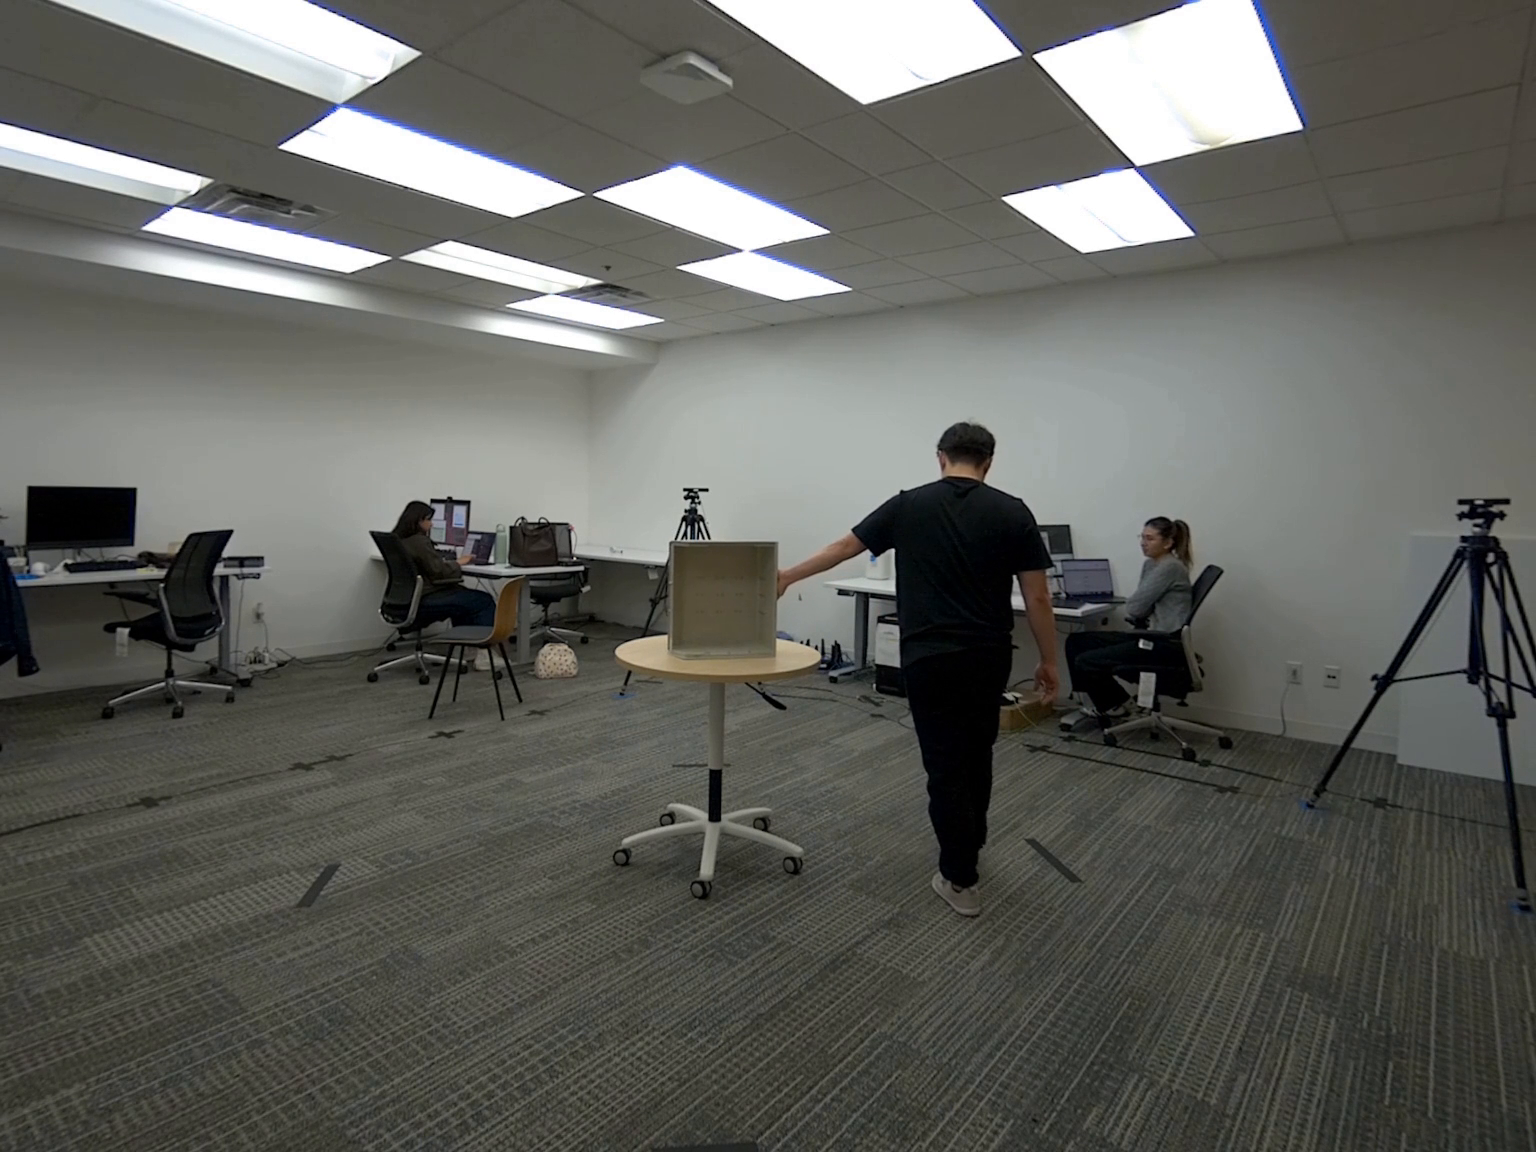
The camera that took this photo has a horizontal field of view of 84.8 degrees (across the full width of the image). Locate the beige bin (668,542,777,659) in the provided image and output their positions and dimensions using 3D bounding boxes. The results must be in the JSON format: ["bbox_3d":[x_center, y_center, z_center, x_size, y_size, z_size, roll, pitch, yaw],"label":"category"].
[{"bbox_3d":[-0.183,0.076,3.135,0.371,0.422,0.192,0,2,-16],"label":"beige bin"}]
